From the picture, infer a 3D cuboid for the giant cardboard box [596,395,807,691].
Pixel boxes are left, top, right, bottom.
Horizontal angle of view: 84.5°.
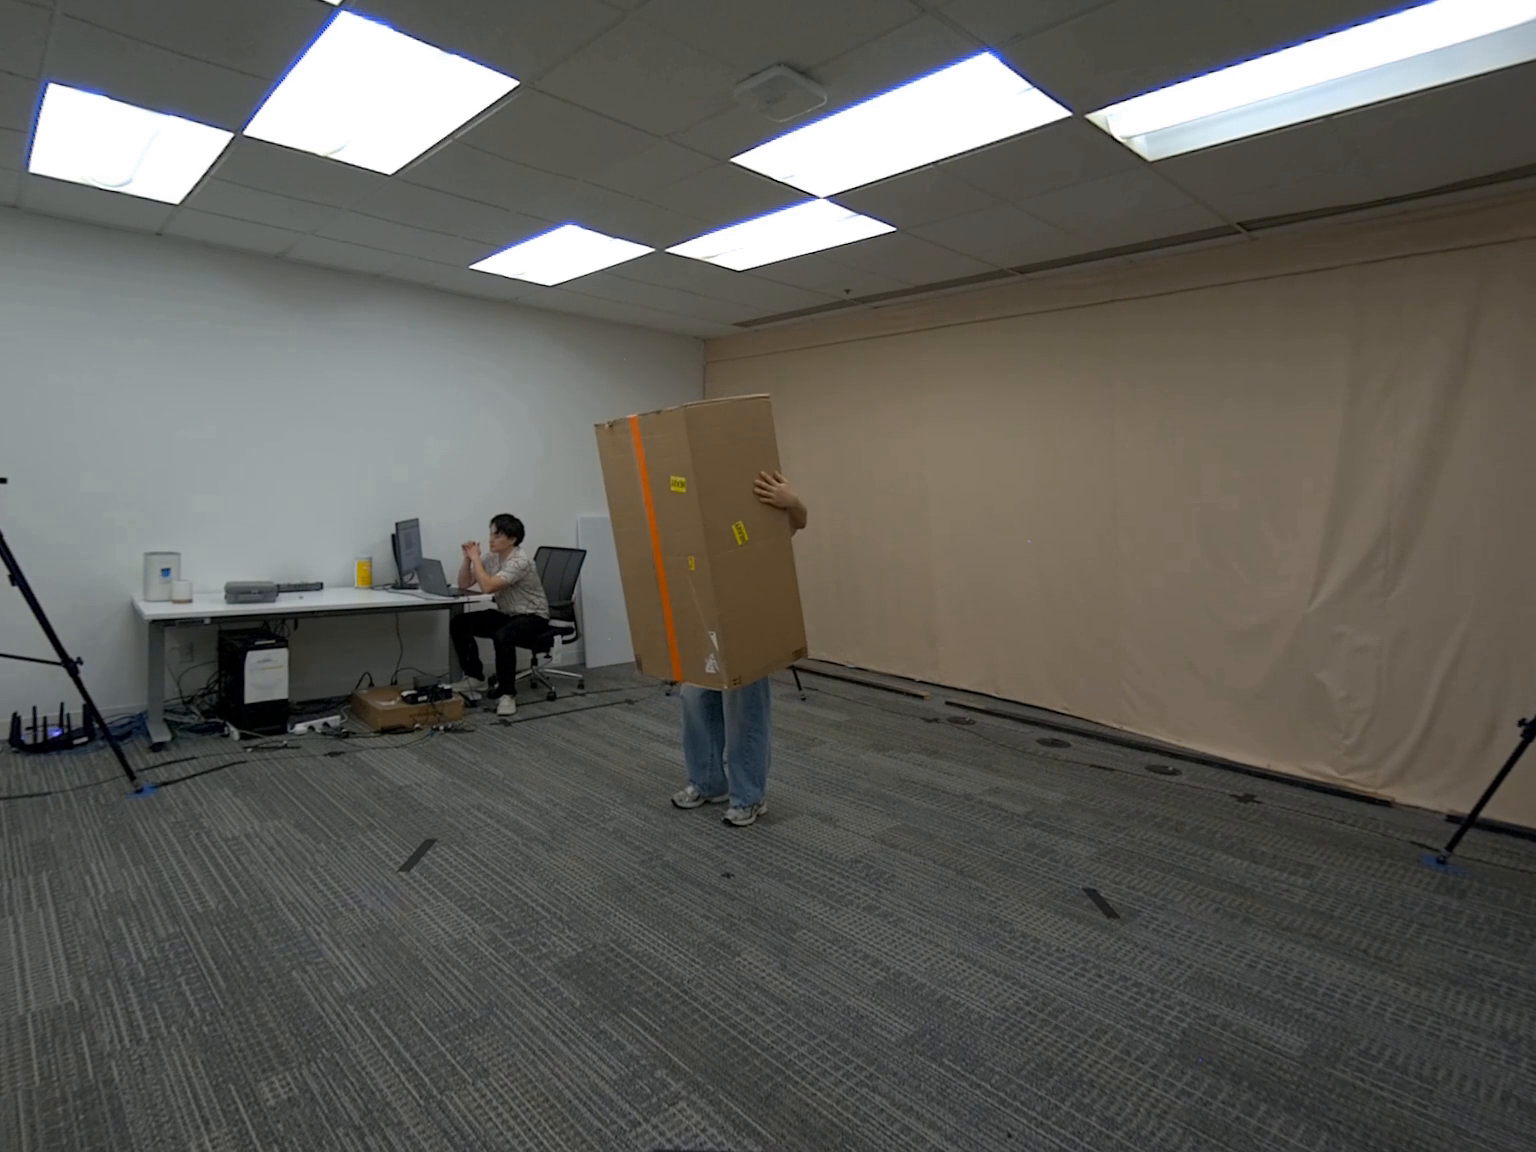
[{"bbox_3d":[-0.276,-0.136,3.264,0.419,1.019,0.591,-15,10,-42],"label":"giant cardboard box"}]
